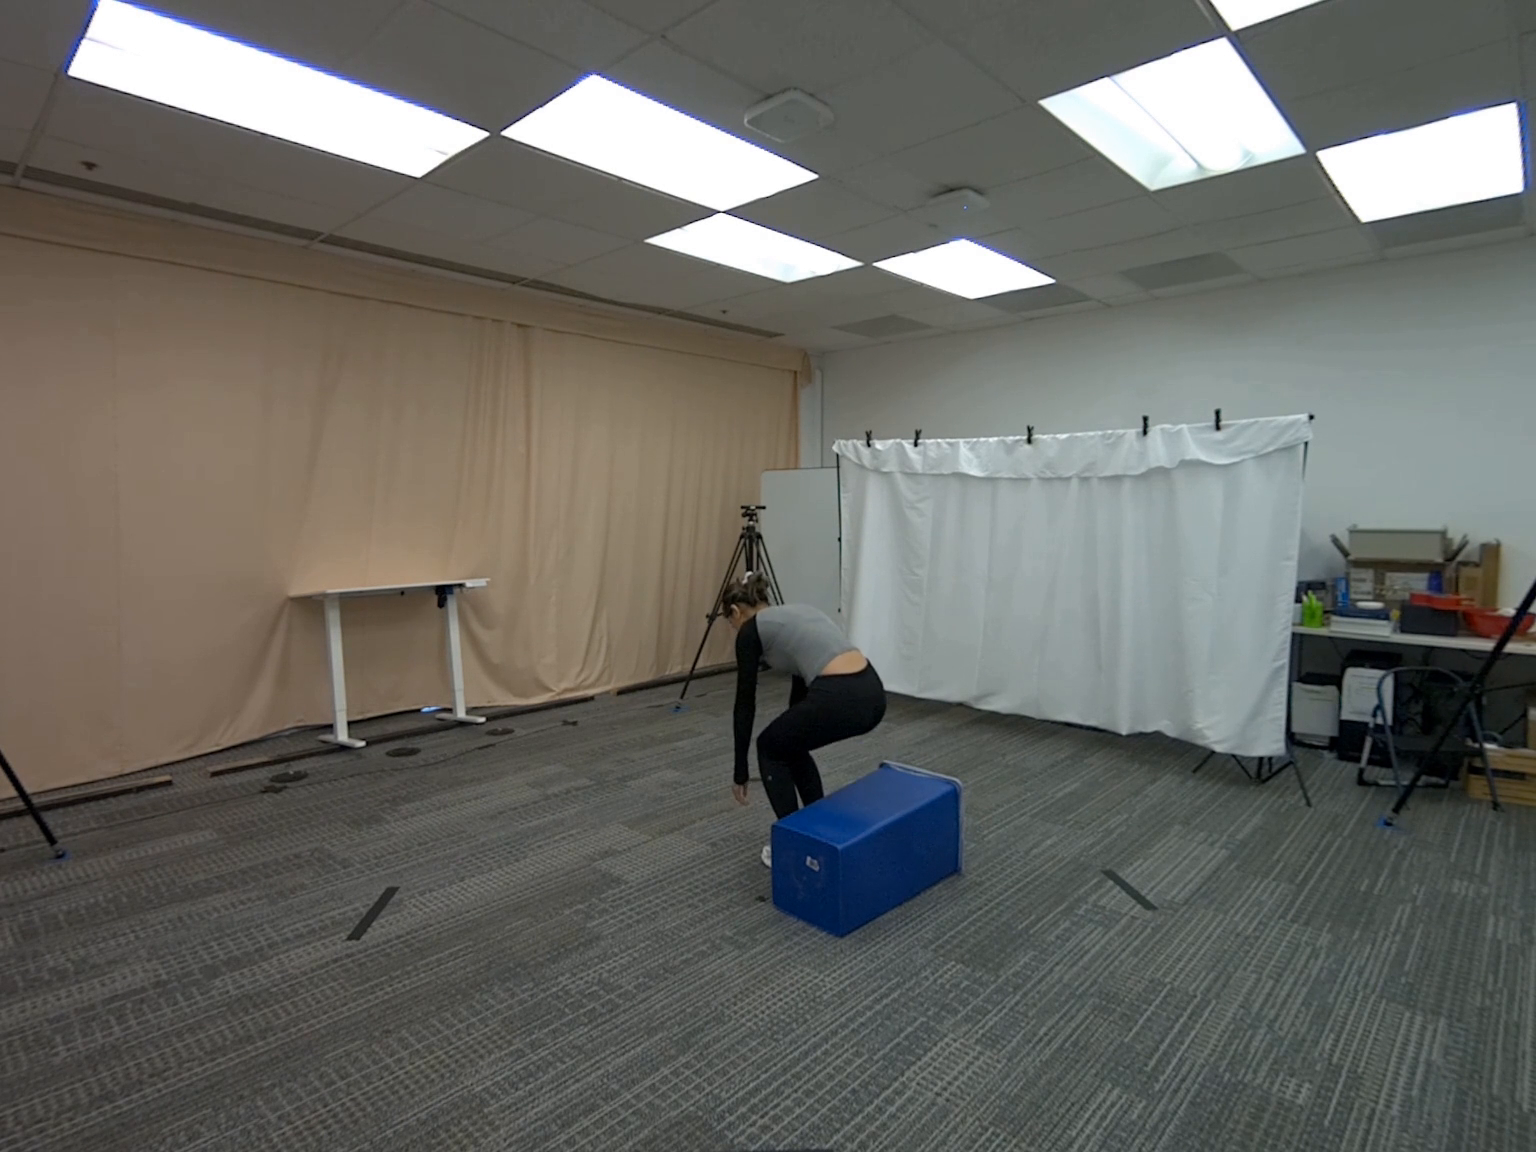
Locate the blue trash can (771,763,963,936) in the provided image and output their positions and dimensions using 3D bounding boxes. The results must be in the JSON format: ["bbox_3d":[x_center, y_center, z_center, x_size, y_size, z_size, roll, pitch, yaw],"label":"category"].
[{"bbox_3d":[0.372,0.966,3.038,0.391,0.373,0.692,5,8,43],"label":"blue trash can"}]
